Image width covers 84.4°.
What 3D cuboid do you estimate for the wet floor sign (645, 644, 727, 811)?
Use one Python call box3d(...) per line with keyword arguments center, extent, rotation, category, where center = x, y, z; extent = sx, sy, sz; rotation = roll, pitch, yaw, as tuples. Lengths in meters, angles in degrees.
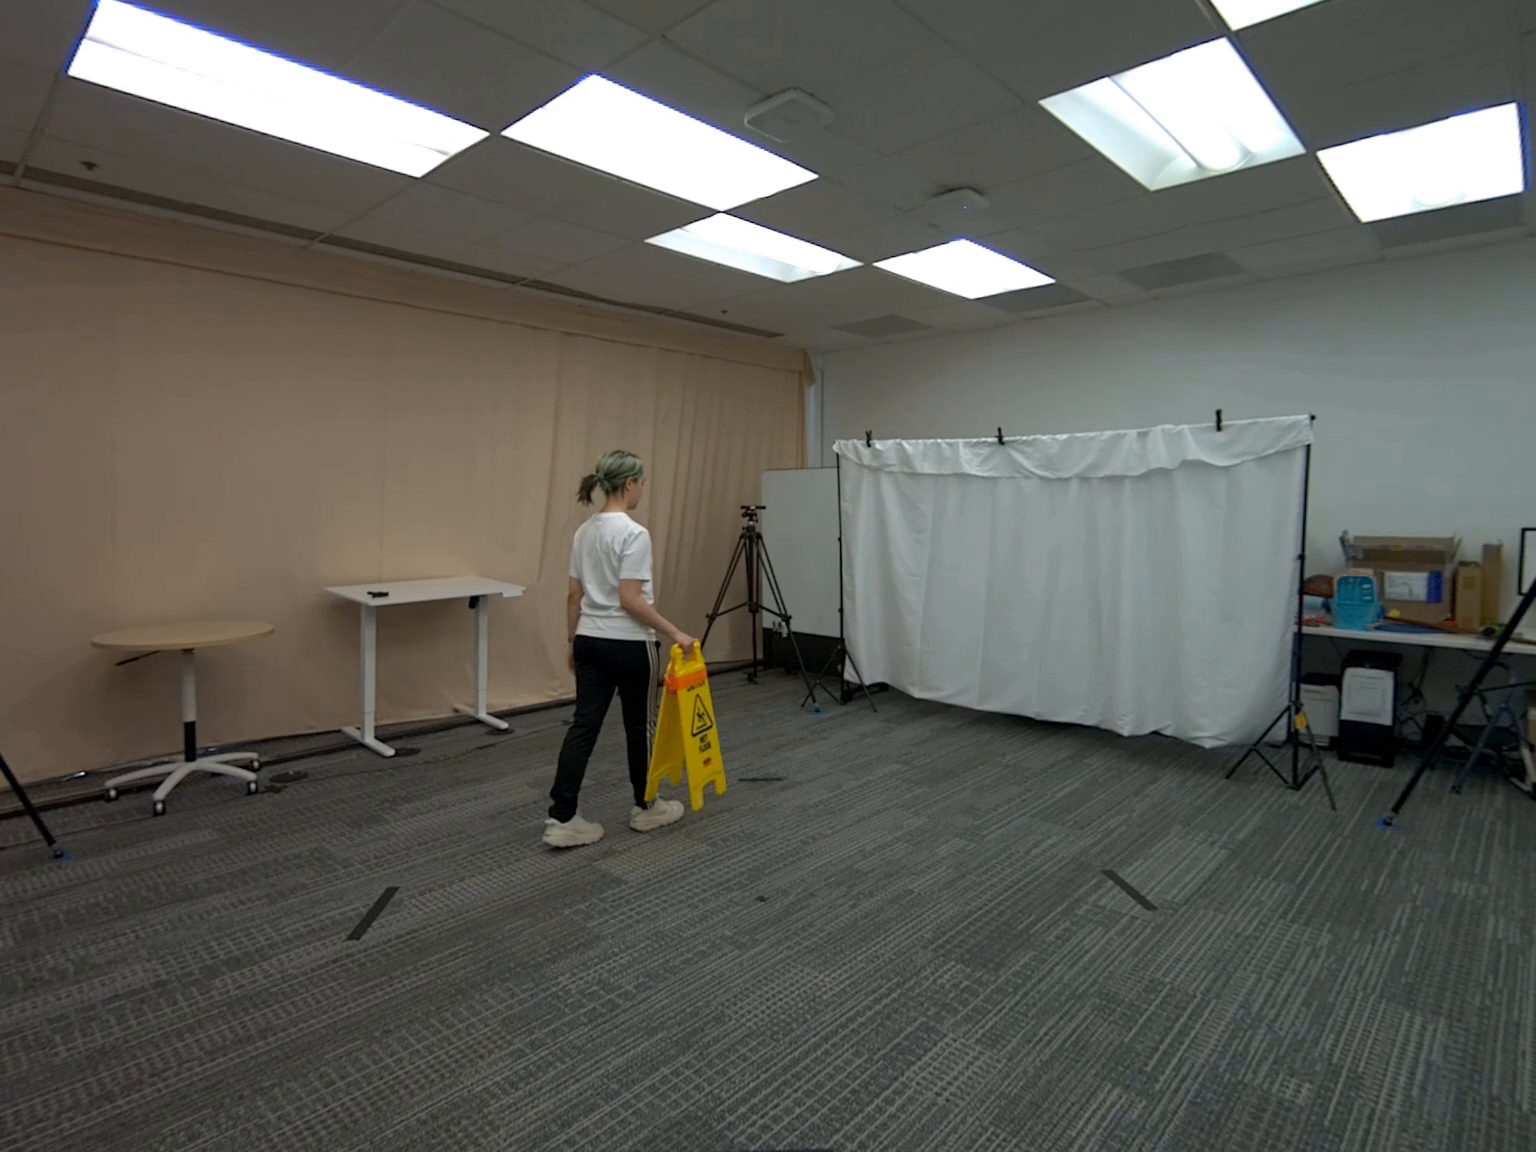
box3d(center=(-0.337, 0.598, 3.494), extent=(0.297, 0.643, 0.276), rotation=(4, 7, 26), category="wet floor sign")
